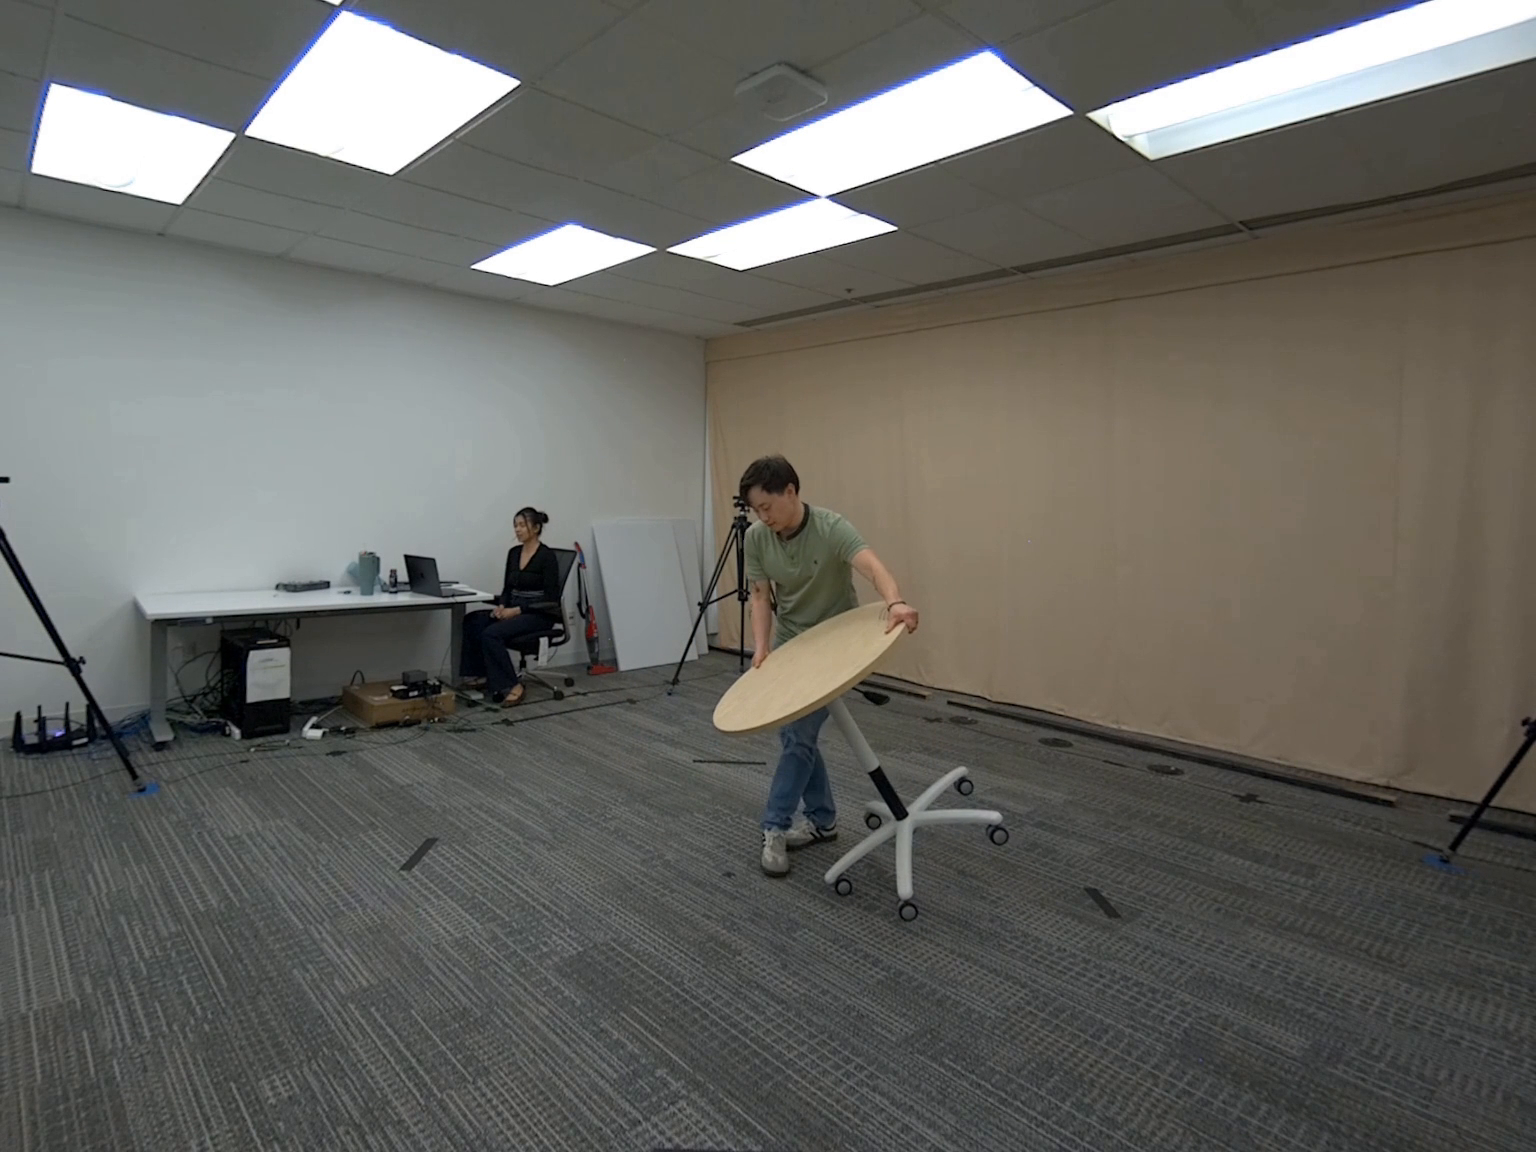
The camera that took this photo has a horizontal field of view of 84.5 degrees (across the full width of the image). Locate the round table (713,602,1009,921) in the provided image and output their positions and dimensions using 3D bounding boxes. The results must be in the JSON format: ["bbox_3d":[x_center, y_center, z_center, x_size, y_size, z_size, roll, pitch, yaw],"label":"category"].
[{"bbox_3d":[0.340,0.628,2.914,0.765,0.788,0.769,-30,8,3],"label":"round table"}]
